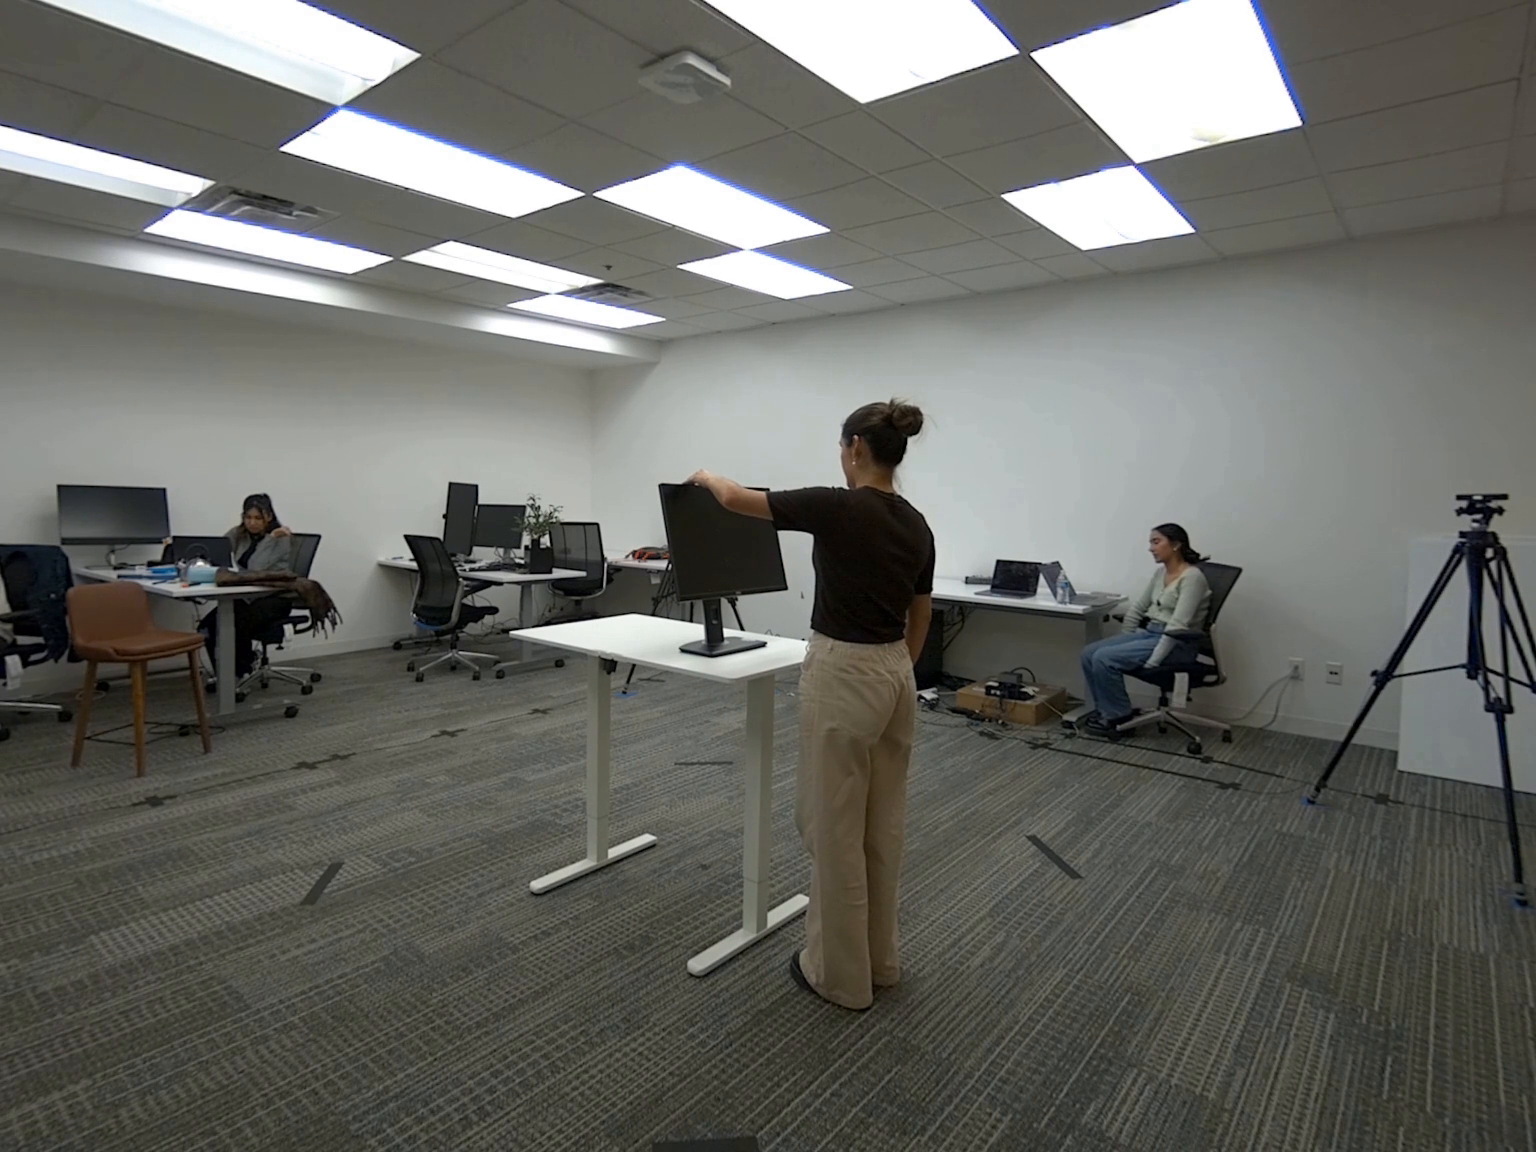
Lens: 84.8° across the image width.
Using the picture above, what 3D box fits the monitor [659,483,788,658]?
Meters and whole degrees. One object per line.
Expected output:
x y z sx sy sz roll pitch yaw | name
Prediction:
-0.159 -0.023 2.686 0.193 0.522 0.523 0 2 36 | monitor
